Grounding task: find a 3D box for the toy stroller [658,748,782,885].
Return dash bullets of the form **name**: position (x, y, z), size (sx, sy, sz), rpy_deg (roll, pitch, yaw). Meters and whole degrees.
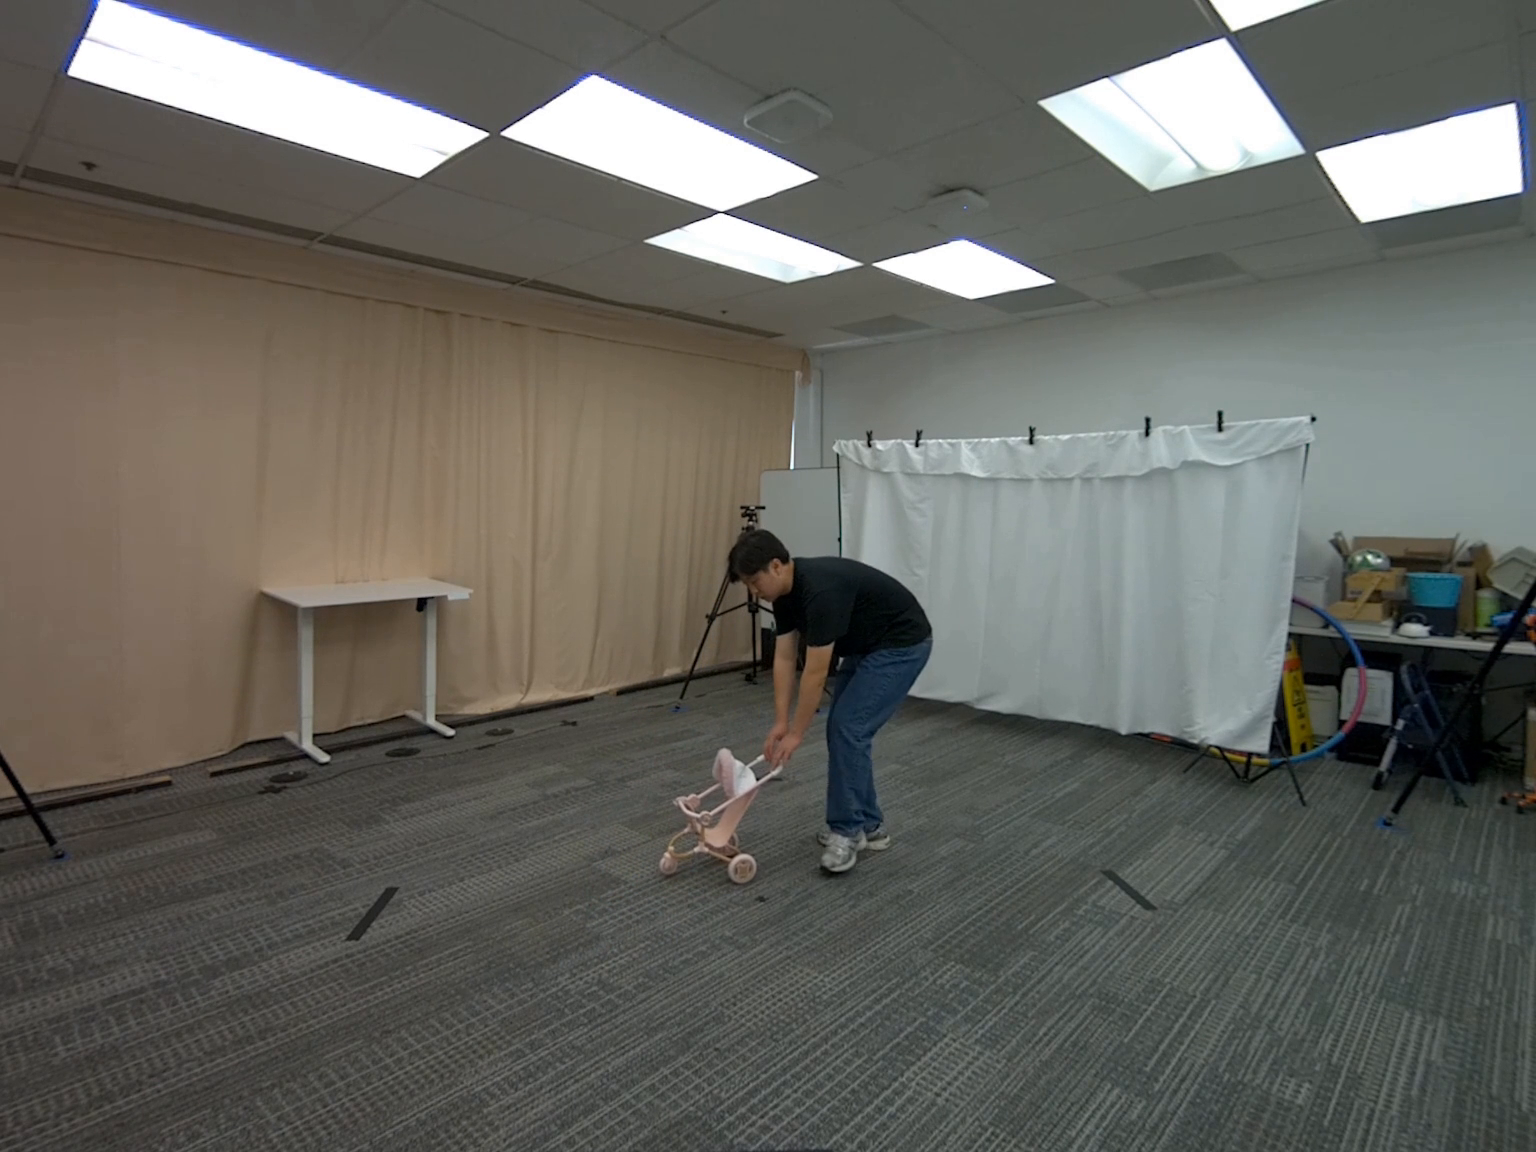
- **toy stroller**: position (-0.182, 0.902, 3.203), size (0.337, 0.535, 0.285), rpy_deg (18, -1, -12)
